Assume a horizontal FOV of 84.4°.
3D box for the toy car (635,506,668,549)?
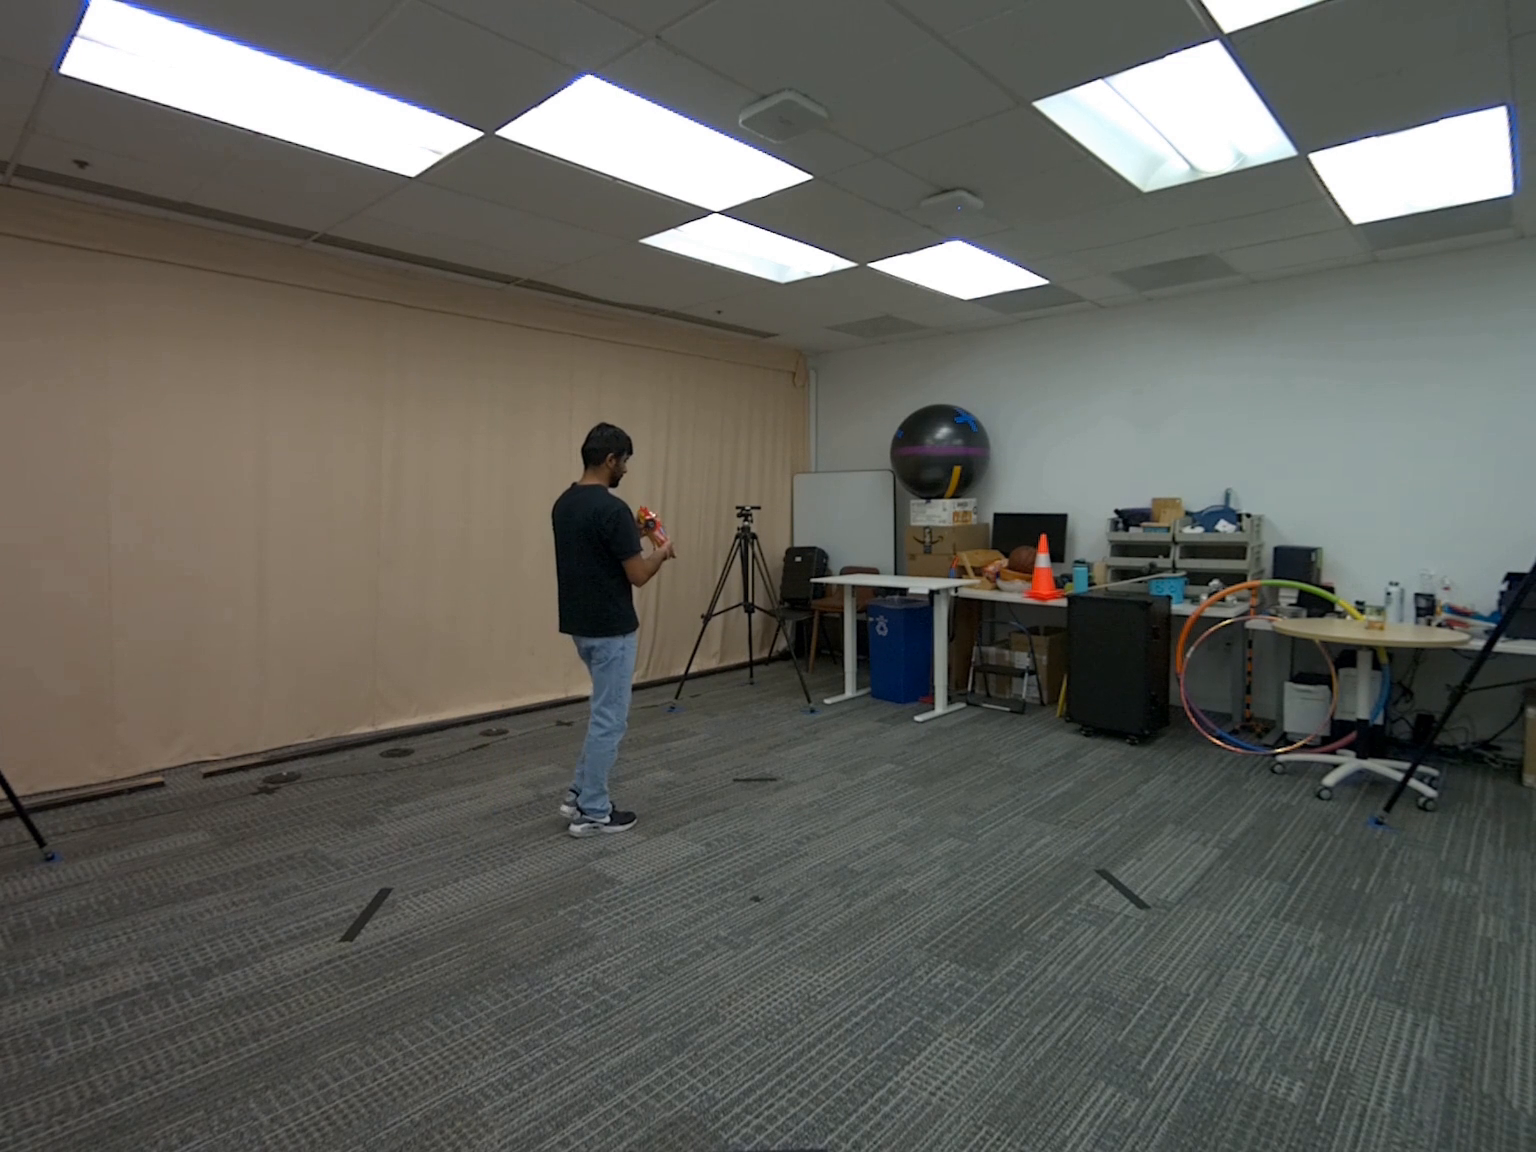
[{"bbox_3d":[-0.515,-0.198,3.774,0.082,0.251,0.134,-24,17,-24],"label":"toy car"}]
